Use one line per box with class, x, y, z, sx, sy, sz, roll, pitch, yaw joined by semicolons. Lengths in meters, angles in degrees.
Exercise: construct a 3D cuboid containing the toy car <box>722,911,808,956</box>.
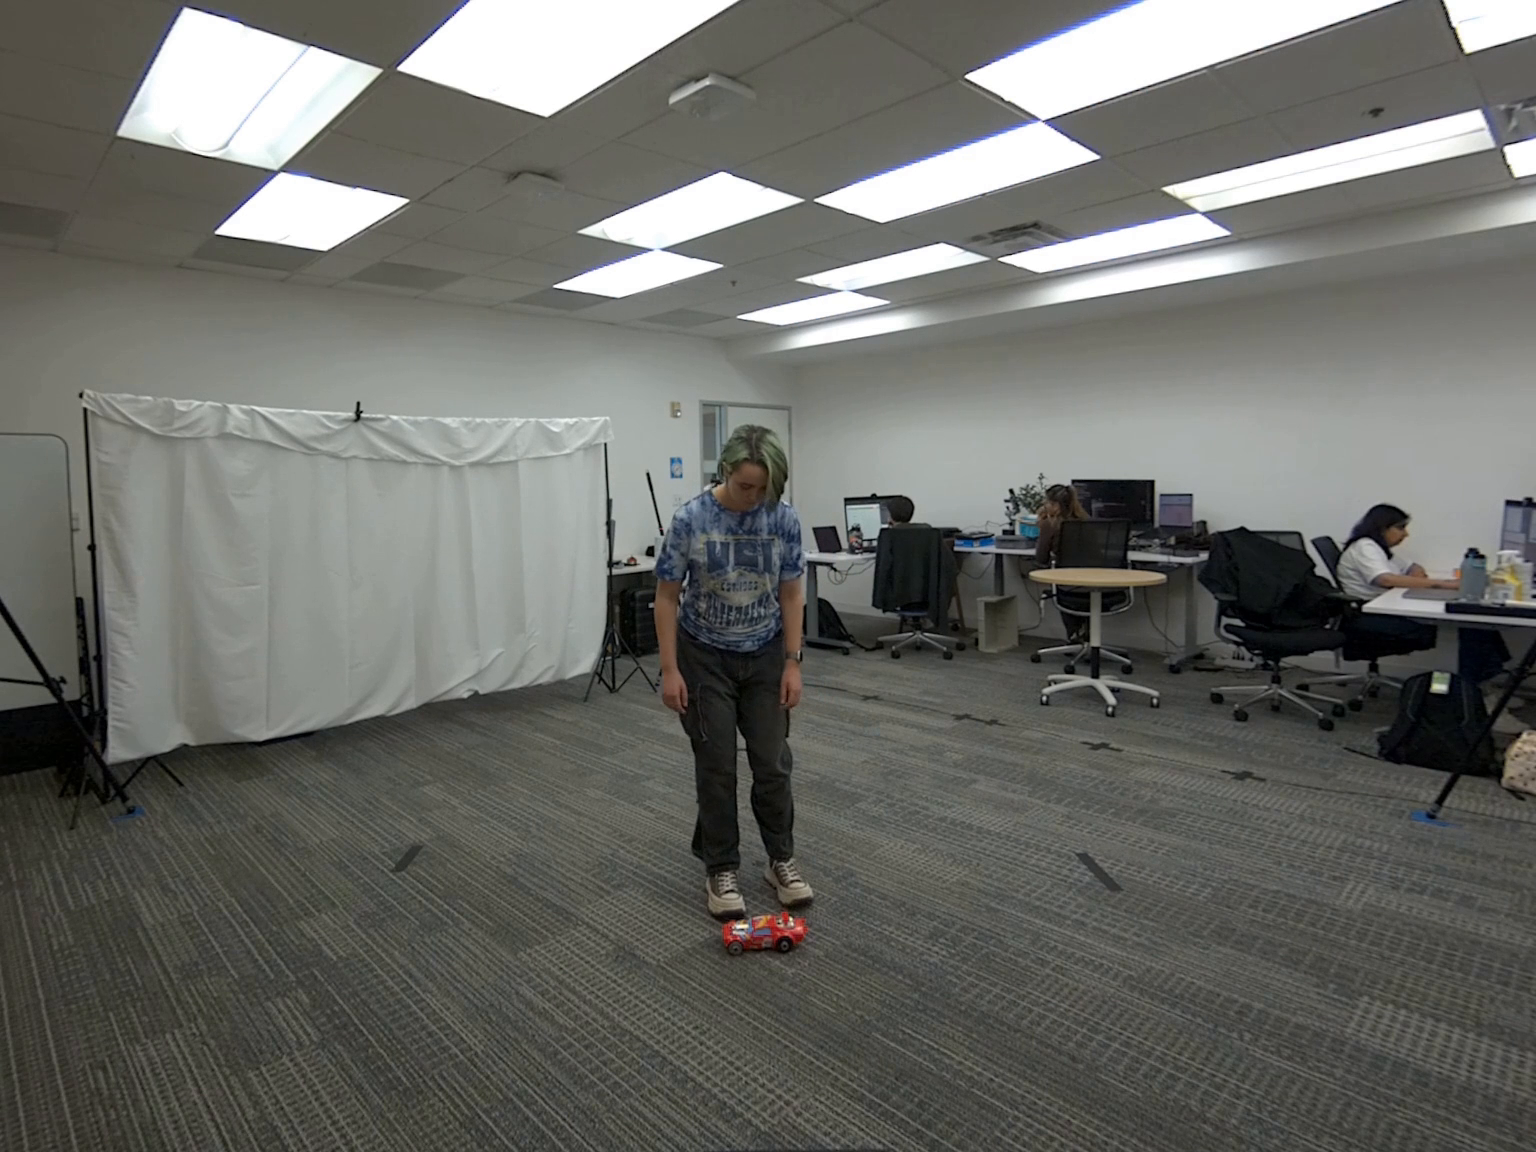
toy car;-0.006;1.082;2.568;0.254;0.083;0.131;-13;6;-1
